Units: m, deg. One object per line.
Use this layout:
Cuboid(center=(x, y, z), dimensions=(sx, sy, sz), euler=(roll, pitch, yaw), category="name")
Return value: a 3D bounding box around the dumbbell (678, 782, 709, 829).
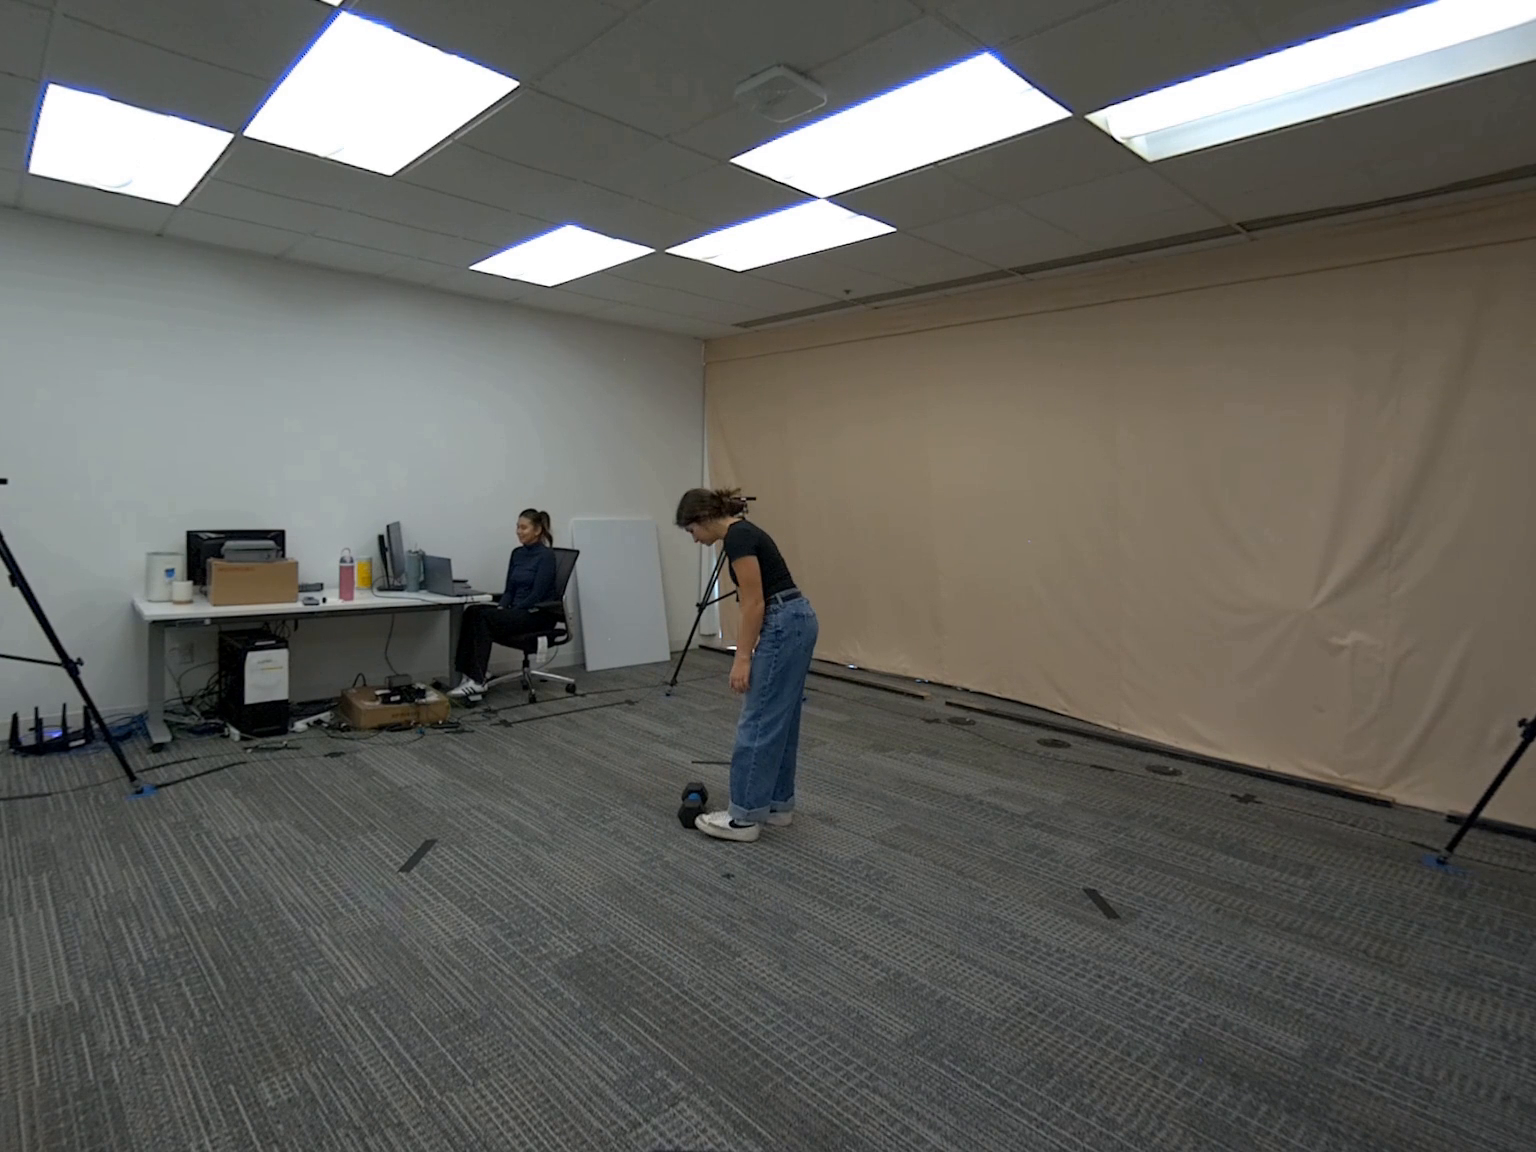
Cuboid(center=(-0.333, 0.994, 3.675), dimensions=(0.108, 0.123, 0.294), euler=(31, 3, -4), category="dumbbell")
